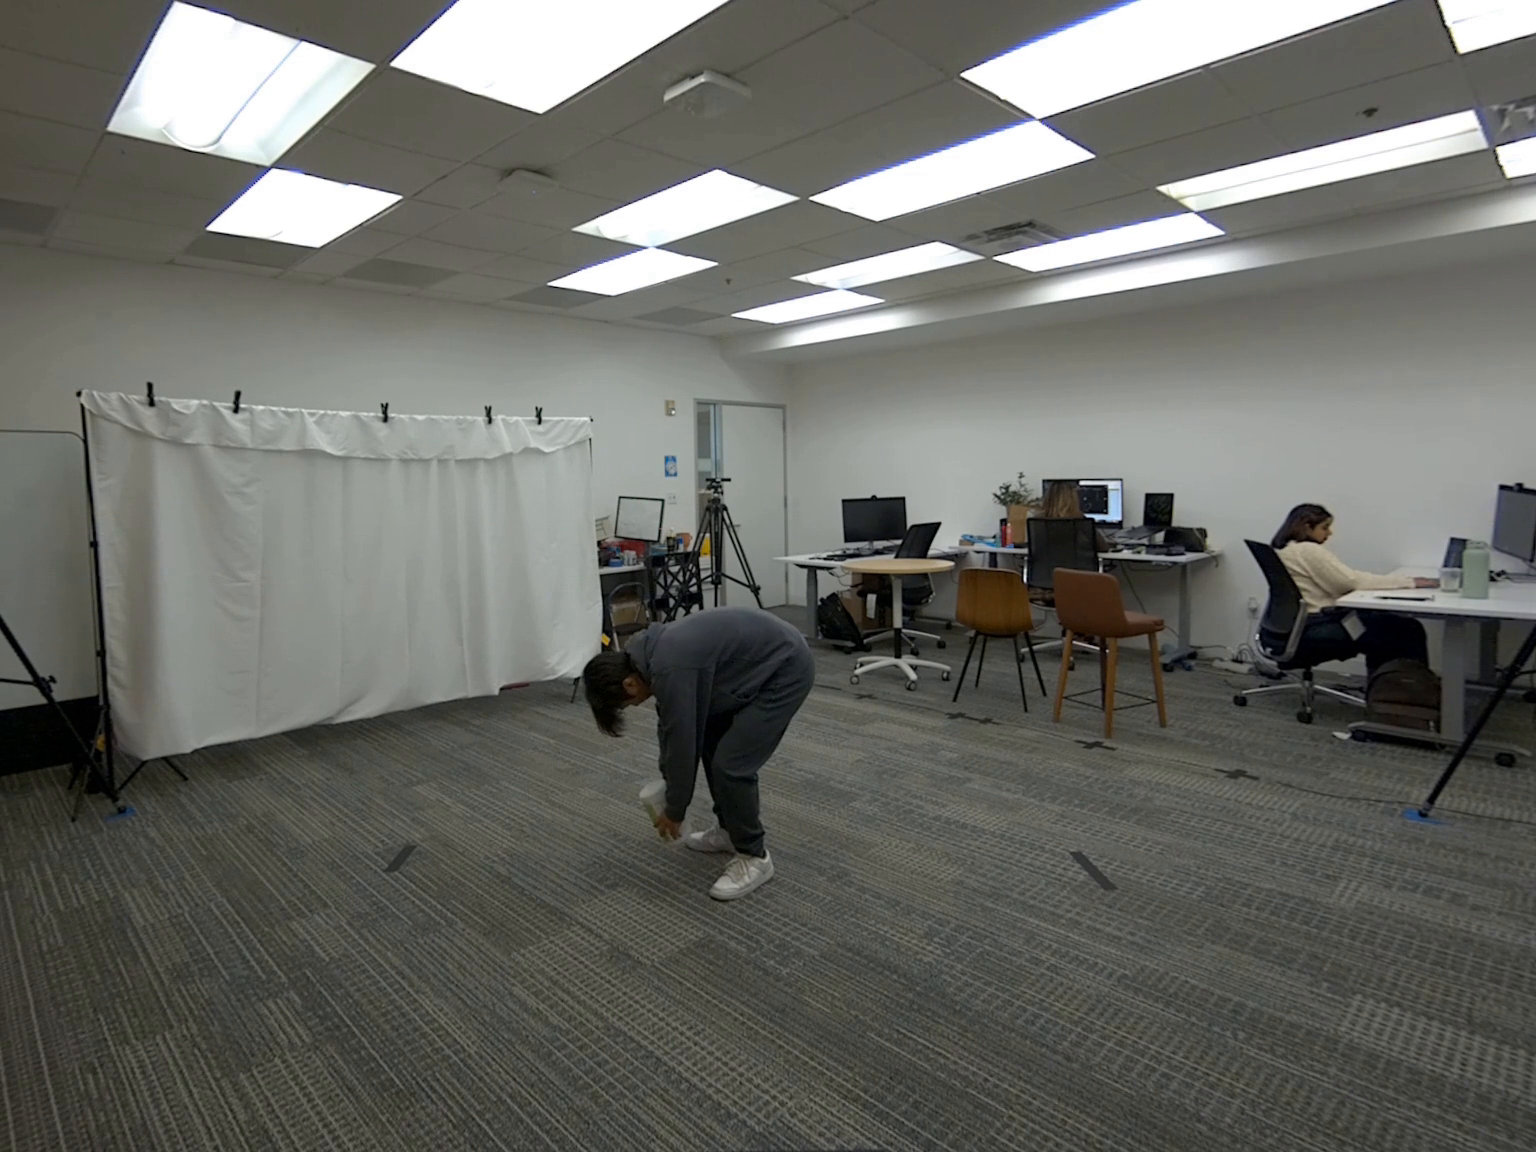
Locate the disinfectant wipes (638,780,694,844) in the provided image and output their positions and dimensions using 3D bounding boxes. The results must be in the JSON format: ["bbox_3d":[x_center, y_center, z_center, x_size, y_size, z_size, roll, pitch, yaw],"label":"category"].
[{"bbox_3d":[-0.371,0.852,3.068,0.118,0.215,0.119,-28,9,4],"label":"disinfectant wipes"}]
